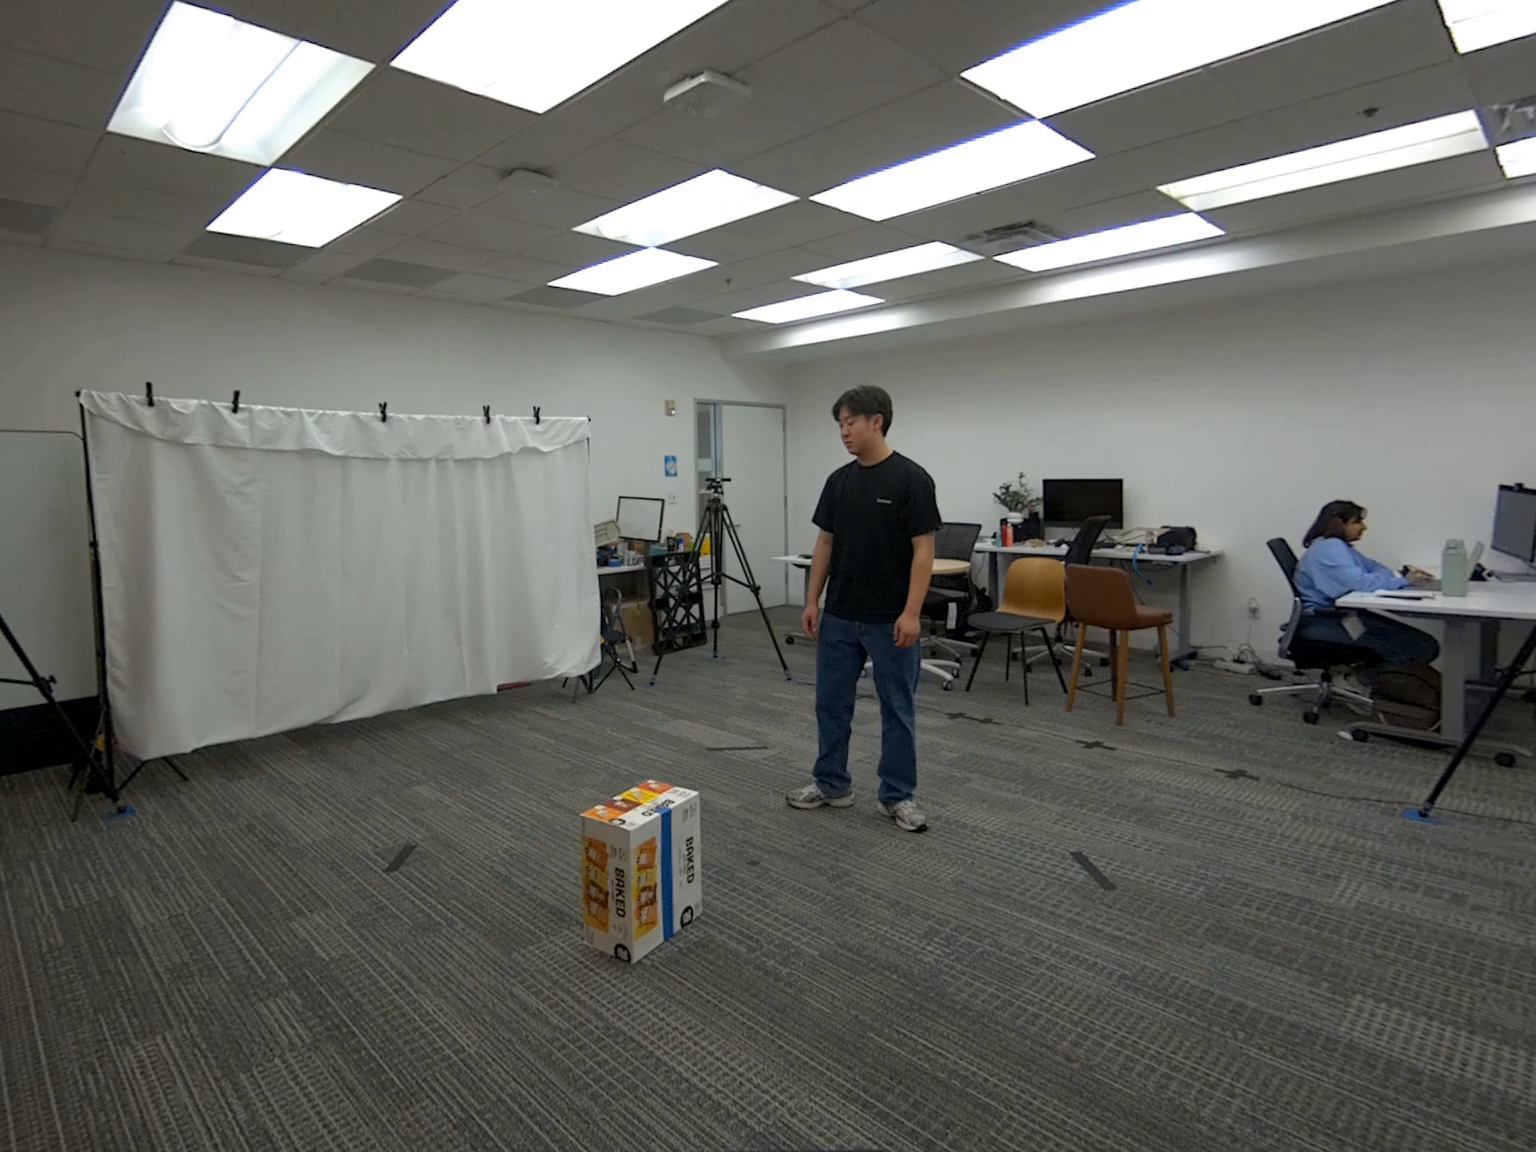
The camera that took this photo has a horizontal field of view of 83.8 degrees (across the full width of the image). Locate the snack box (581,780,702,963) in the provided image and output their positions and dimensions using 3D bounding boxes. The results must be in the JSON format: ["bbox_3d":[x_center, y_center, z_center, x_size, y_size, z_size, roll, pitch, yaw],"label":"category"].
[{"bbox_3d":[-0.385,0.899,2.648,0.211,0.403,0.332,2,6,33],"label":"snack box"}]
